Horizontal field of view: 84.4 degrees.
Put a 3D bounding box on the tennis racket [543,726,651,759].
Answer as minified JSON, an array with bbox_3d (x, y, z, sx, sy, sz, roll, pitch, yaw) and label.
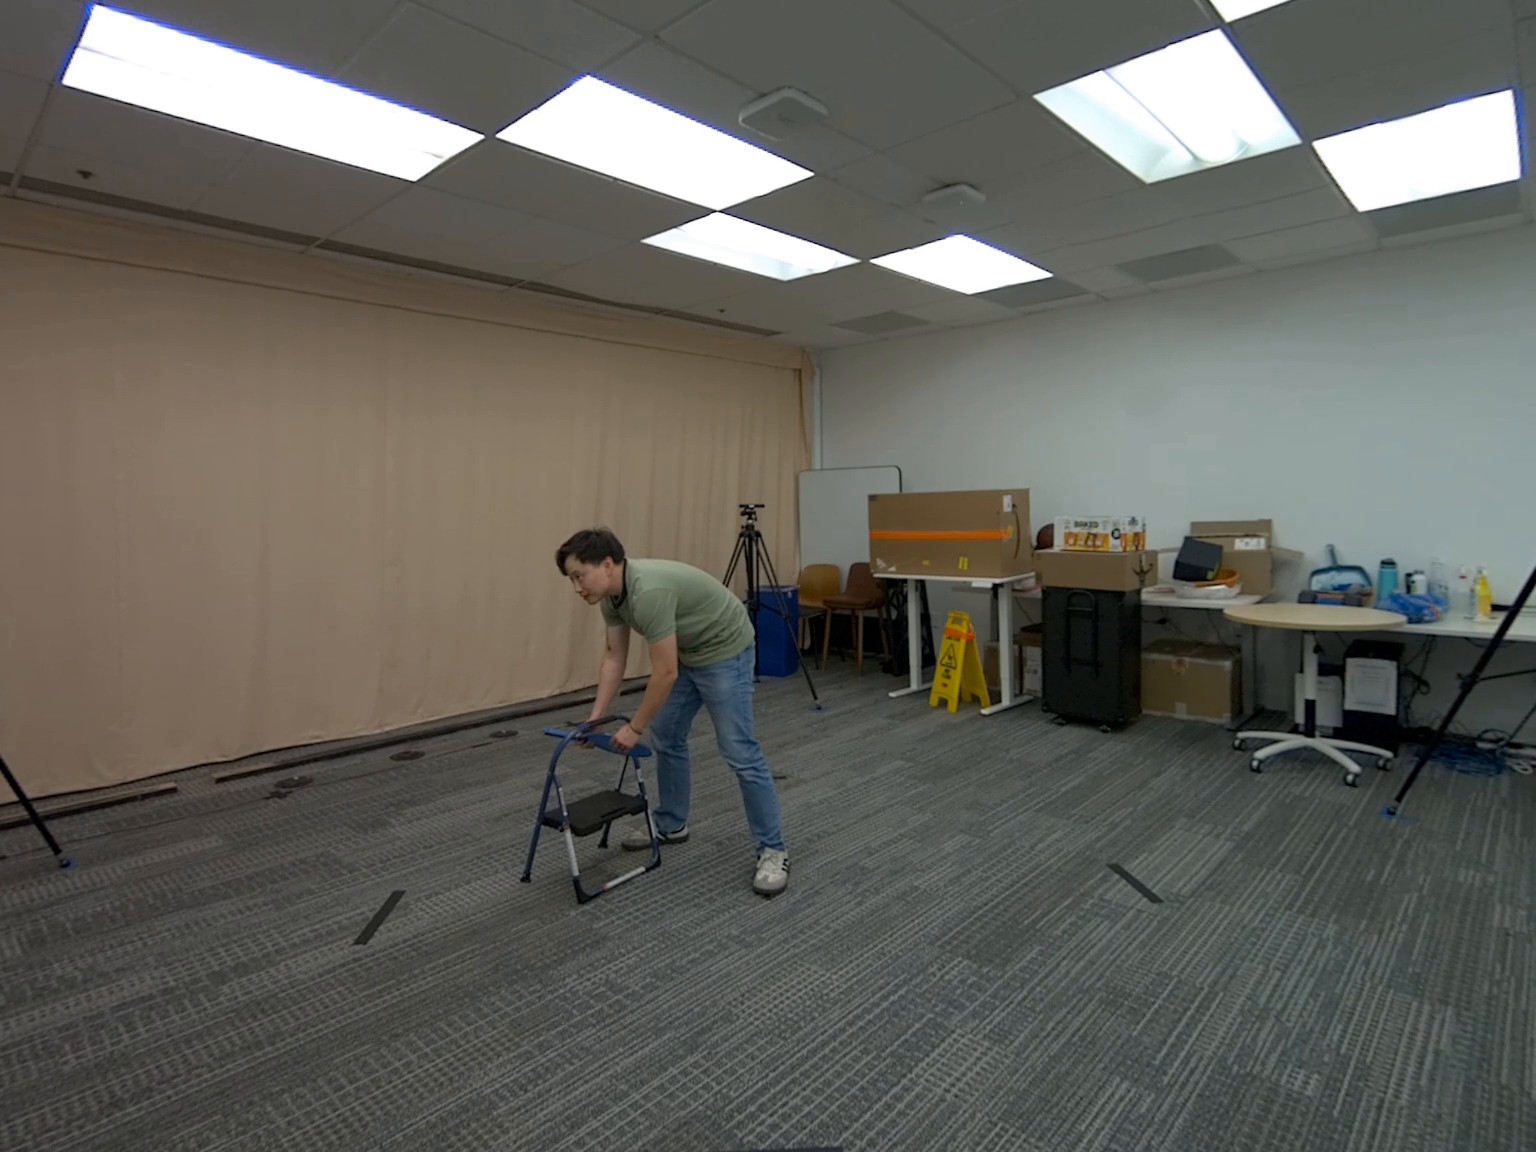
[{"bbox_3d":[-0.661,0.647,3.193,0.440,0.032,0.209,9,-33,14],"label":"tennis racket"}]
